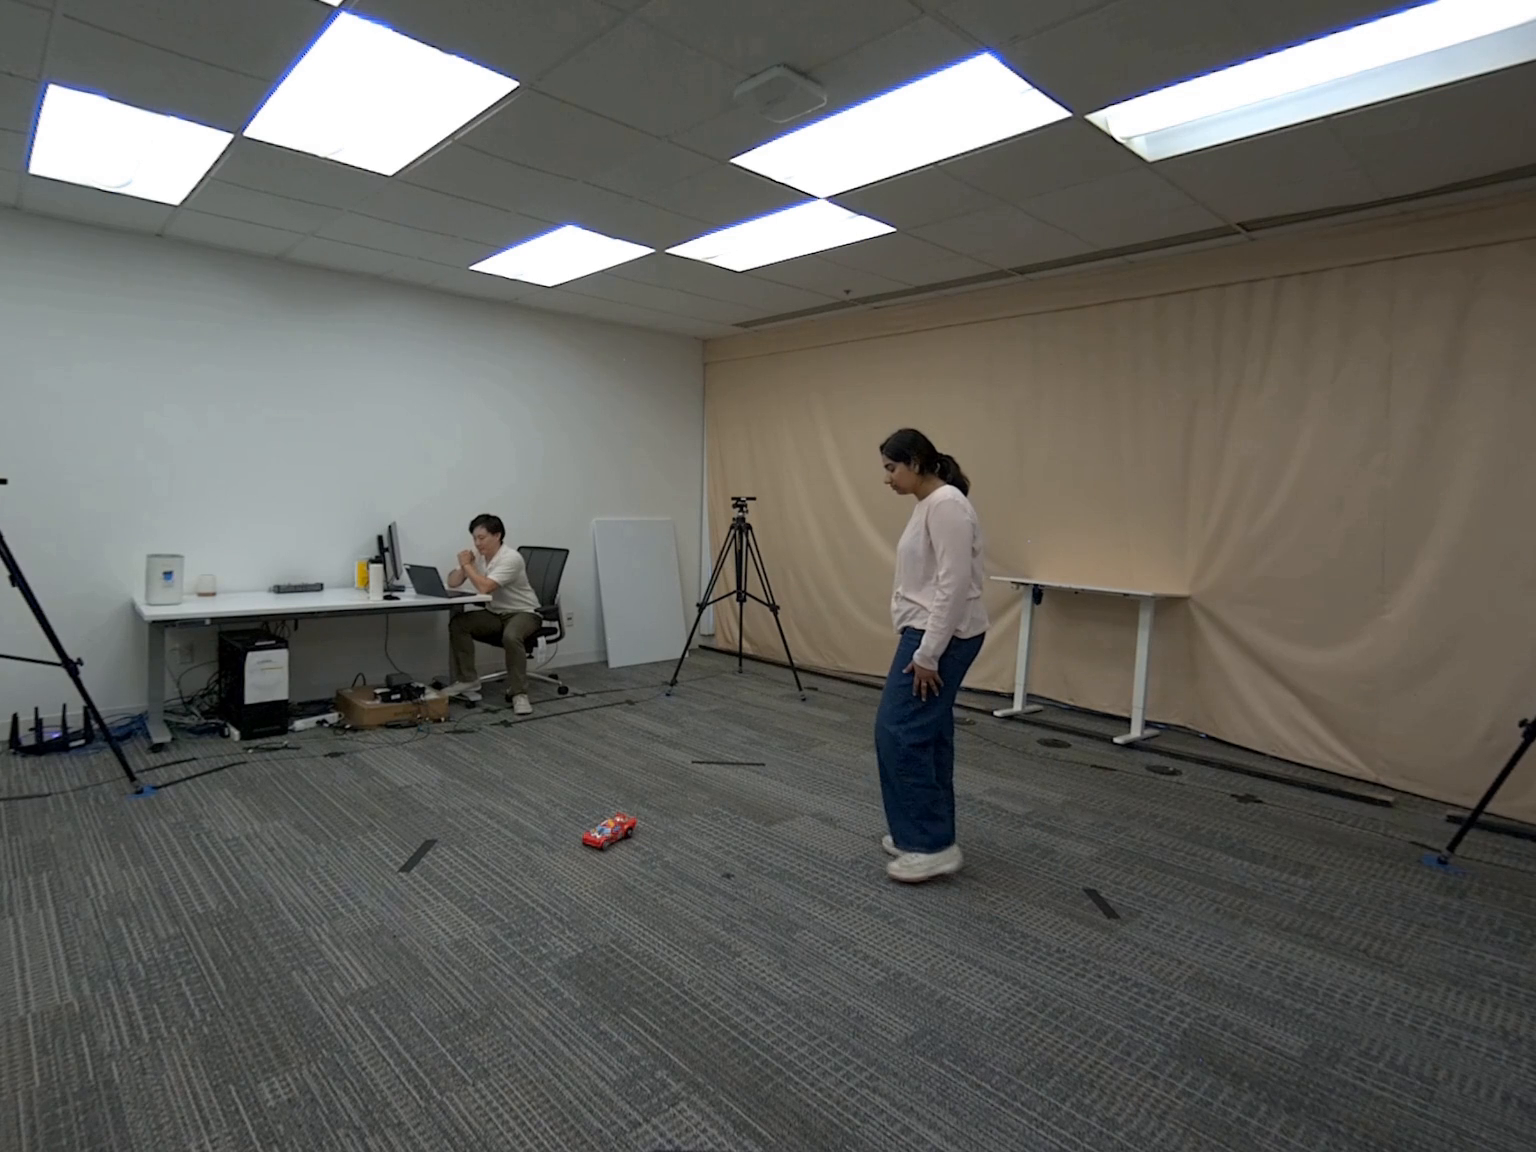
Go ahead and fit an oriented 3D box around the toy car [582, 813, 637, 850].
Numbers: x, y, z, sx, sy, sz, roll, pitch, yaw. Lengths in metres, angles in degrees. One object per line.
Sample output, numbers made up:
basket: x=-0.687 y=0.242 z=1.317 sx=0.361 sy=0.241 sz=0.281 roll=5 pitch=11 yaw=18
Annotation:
toy car: x=-0.640 y=1.031 z=3.409 sx=0.133 sy=0.082 sz=0.251 roll=2 pitch=16 yaw=31
